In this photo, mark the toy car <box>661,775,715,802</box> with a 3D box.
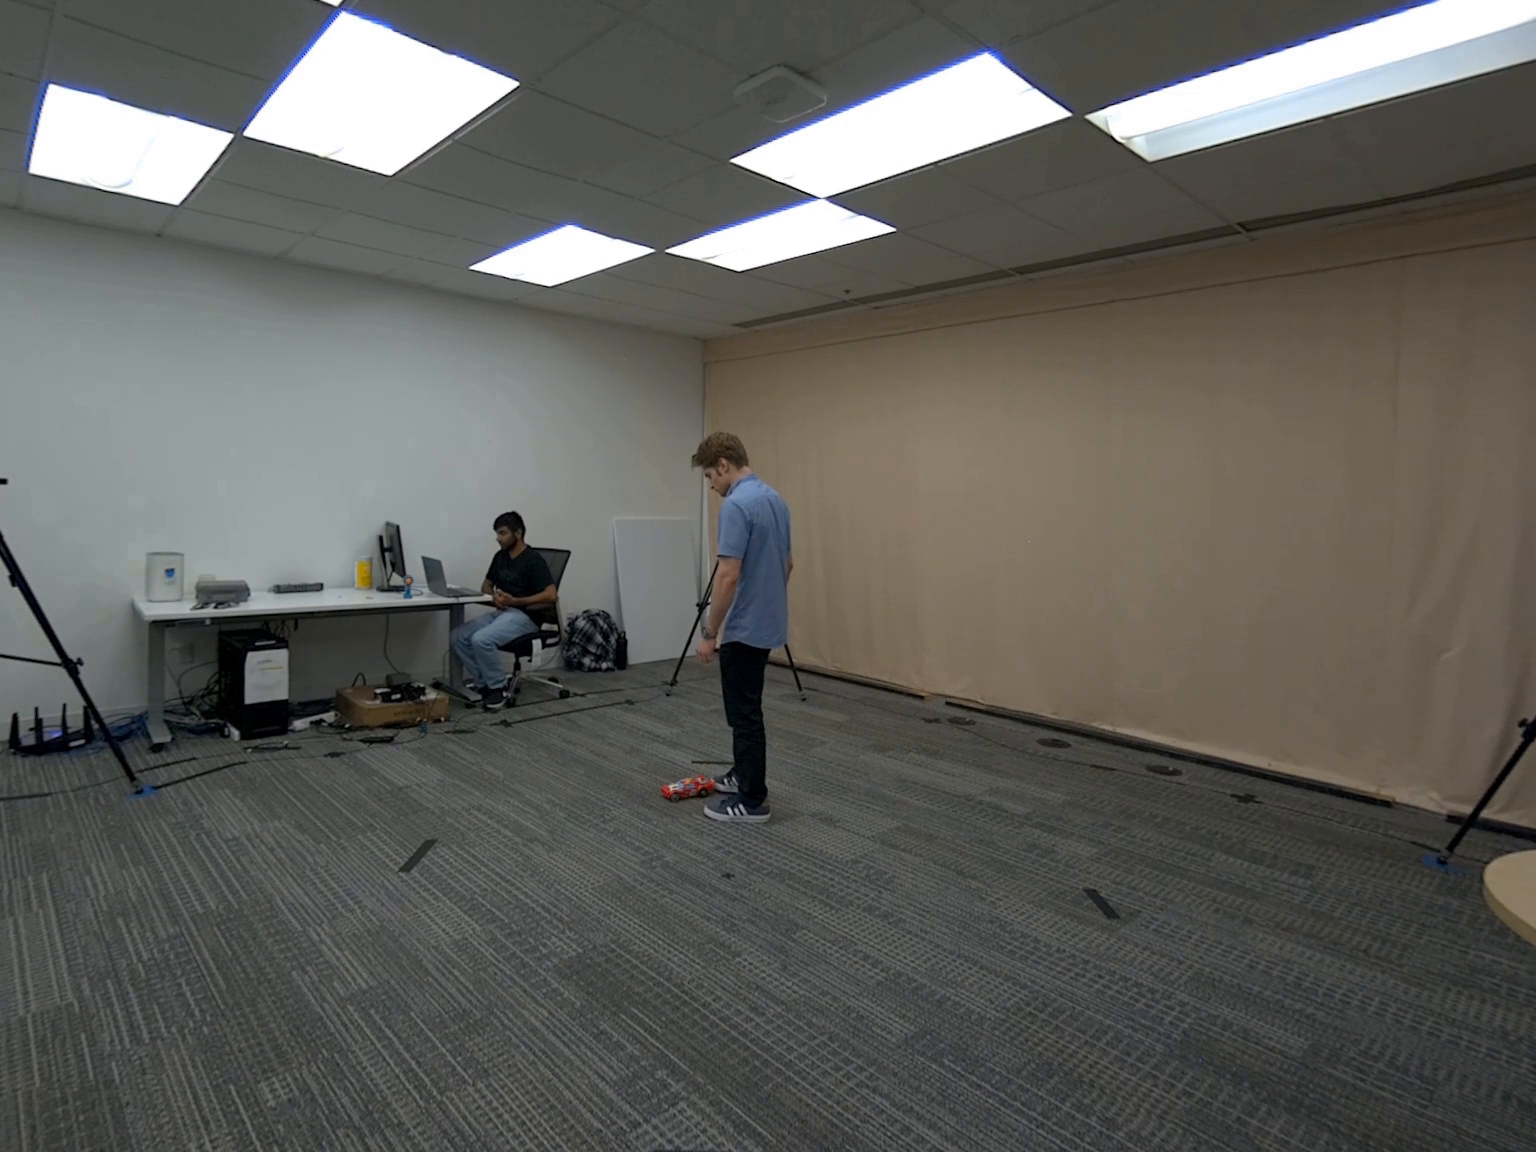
[{"bbox_3d":[-0.389,1.000,3.941,0.251,0.083,0.133,-13,9,-26],"label":"toy car"}]
